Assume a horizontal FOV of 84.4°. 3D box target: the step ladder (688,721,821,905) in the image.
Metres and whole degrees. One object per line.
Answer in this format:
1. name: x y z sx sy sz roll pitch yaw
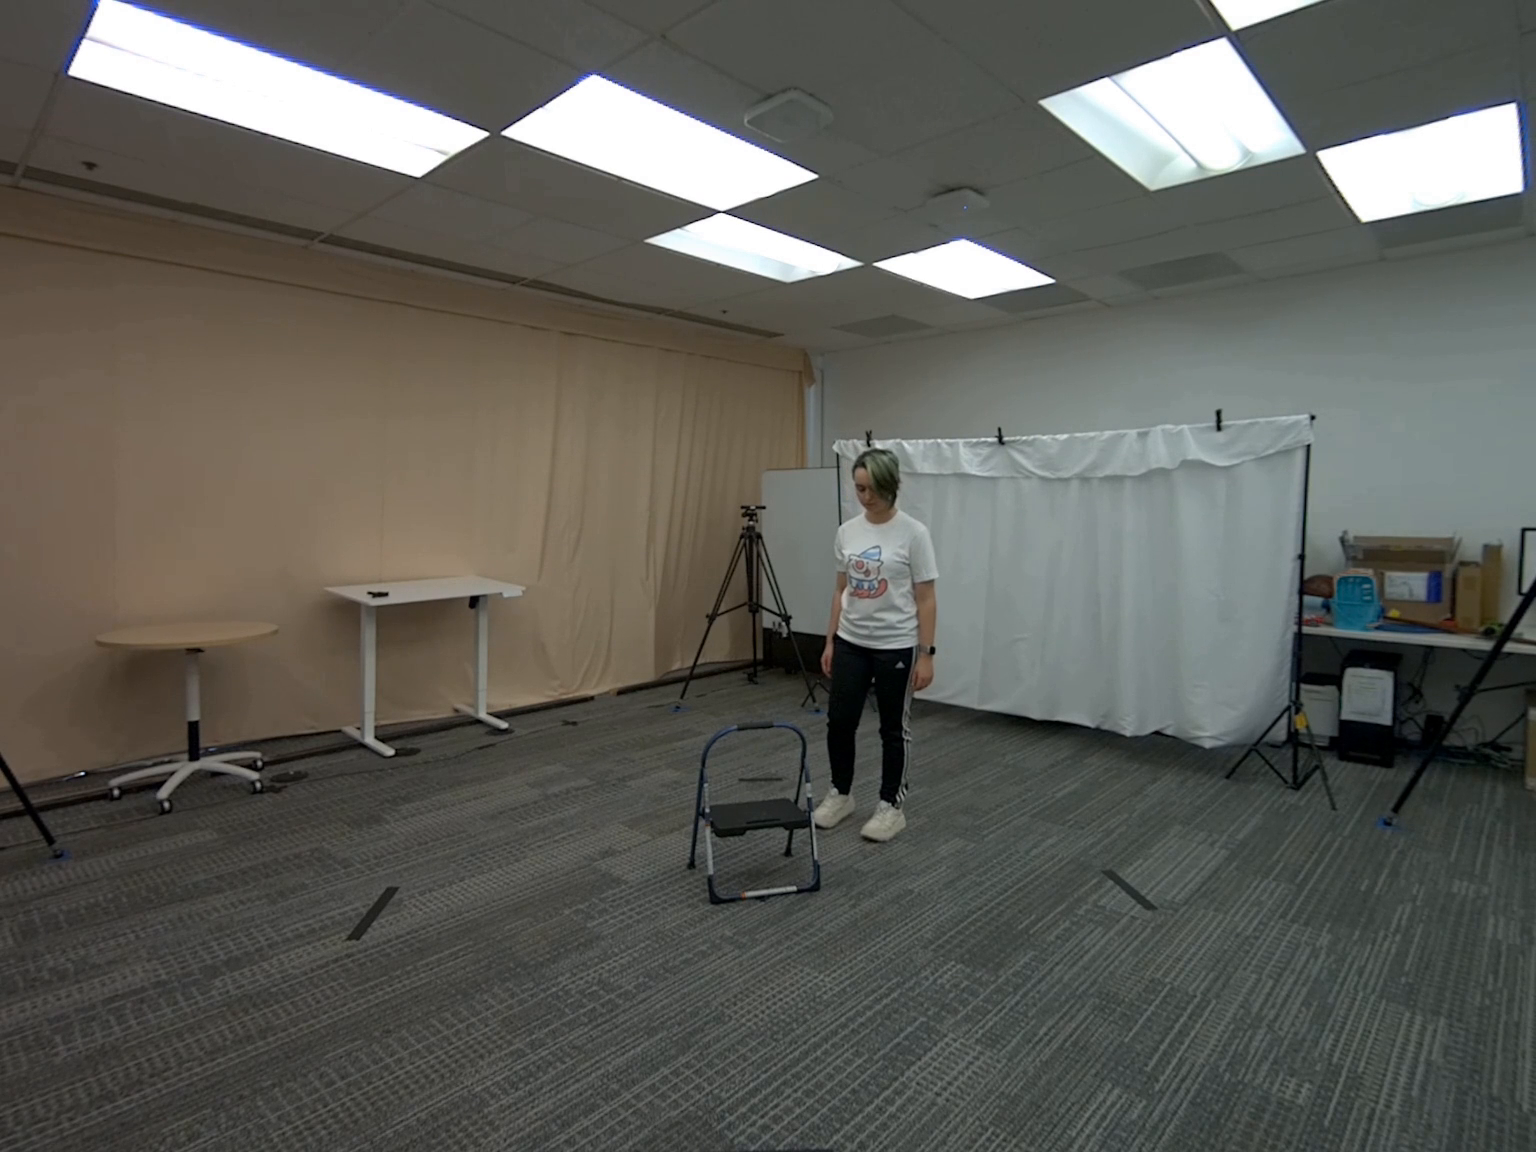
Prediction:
1. step ladder: -0.057 0.829 3.134 0.423 0.605 0.356 -2 4 -17
